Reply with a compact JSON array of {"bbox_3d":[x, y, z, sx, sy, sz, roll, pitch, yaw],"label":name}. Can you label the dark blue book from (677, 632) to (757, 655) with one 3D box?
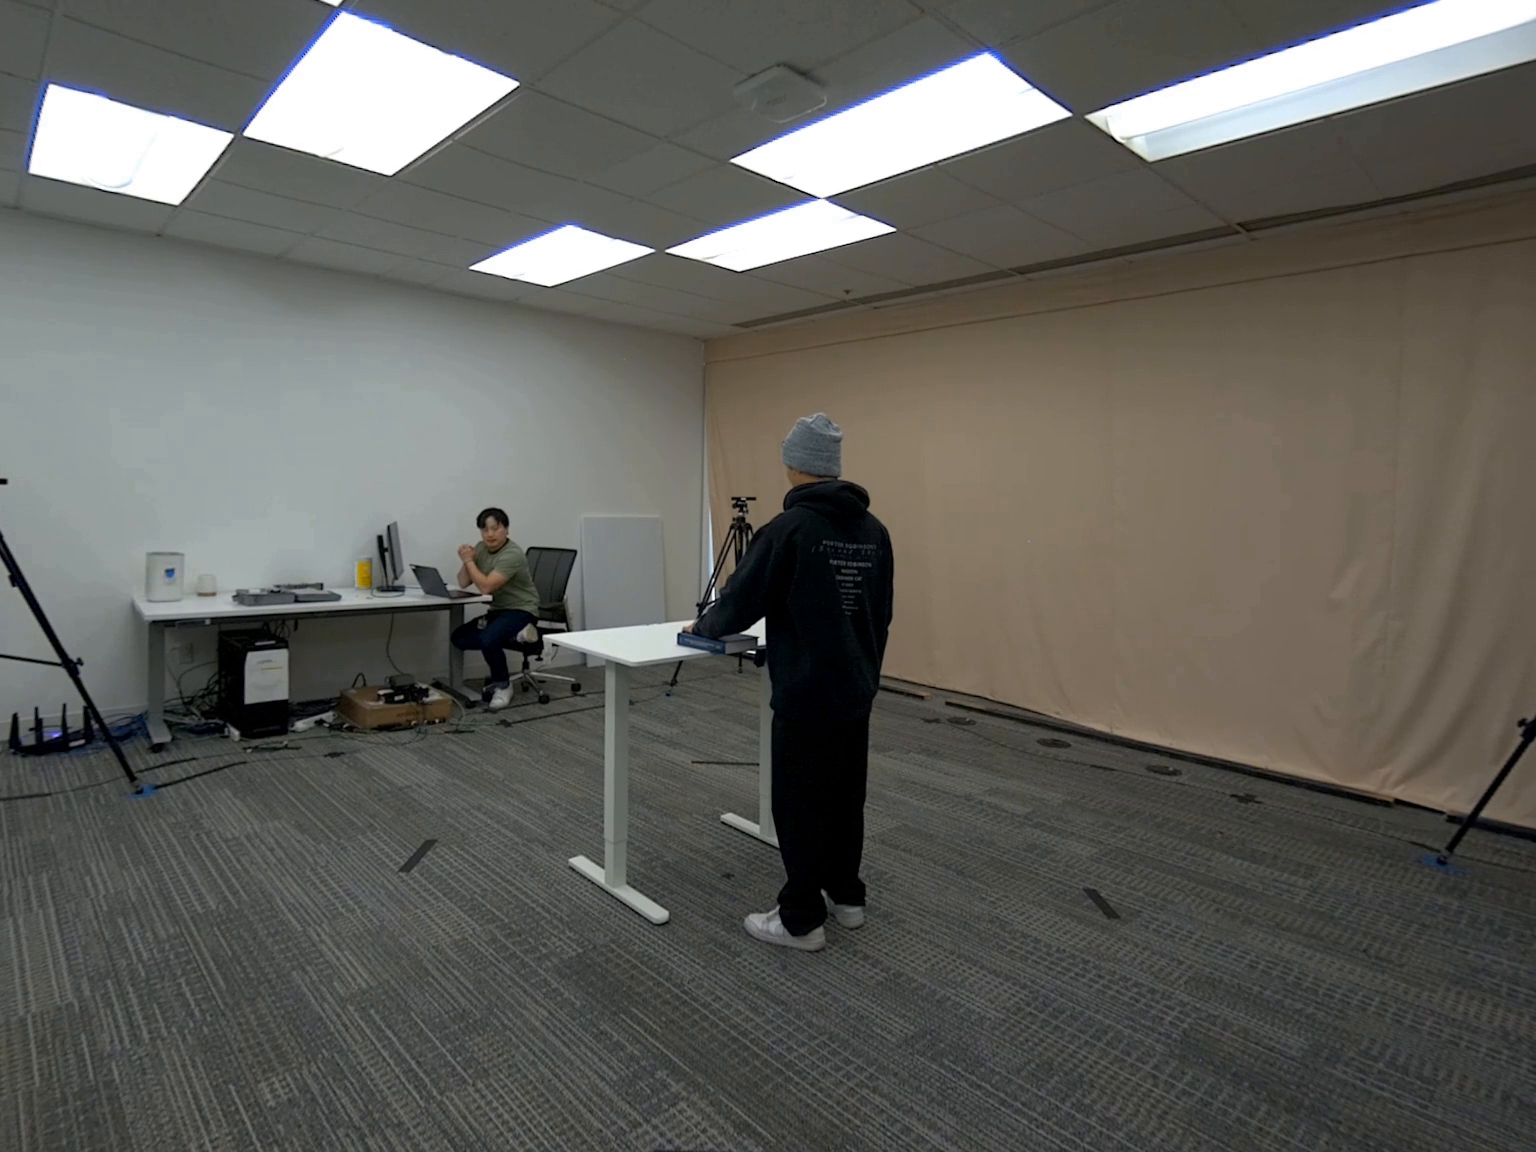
[{"bbox_3d":[-0.165,0.226,2.866,0.251,0.045,0.160,5,8,43],"label":"dark blue book"}]
